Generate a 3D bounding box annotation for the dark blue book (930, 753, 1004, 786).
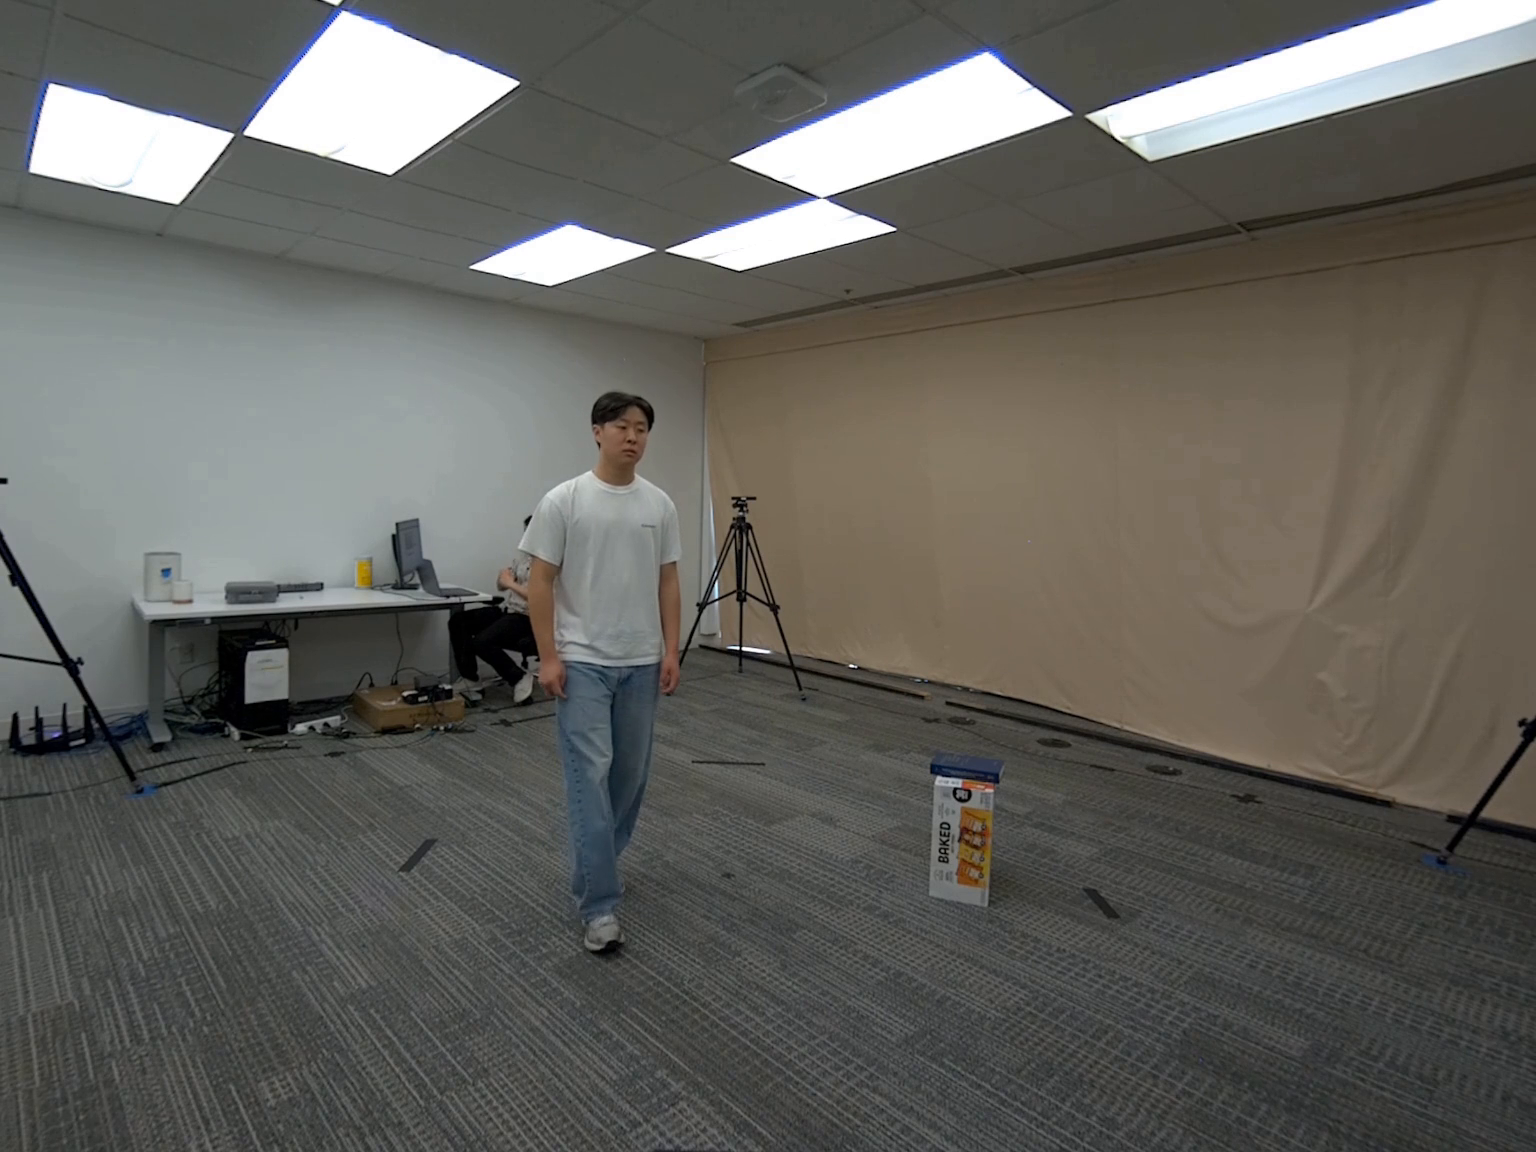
[{"bbox_3d":[0.731,0.705,3.093,0.249,0.045,0.161,3,5,23],"label":"dark blue book"}]
